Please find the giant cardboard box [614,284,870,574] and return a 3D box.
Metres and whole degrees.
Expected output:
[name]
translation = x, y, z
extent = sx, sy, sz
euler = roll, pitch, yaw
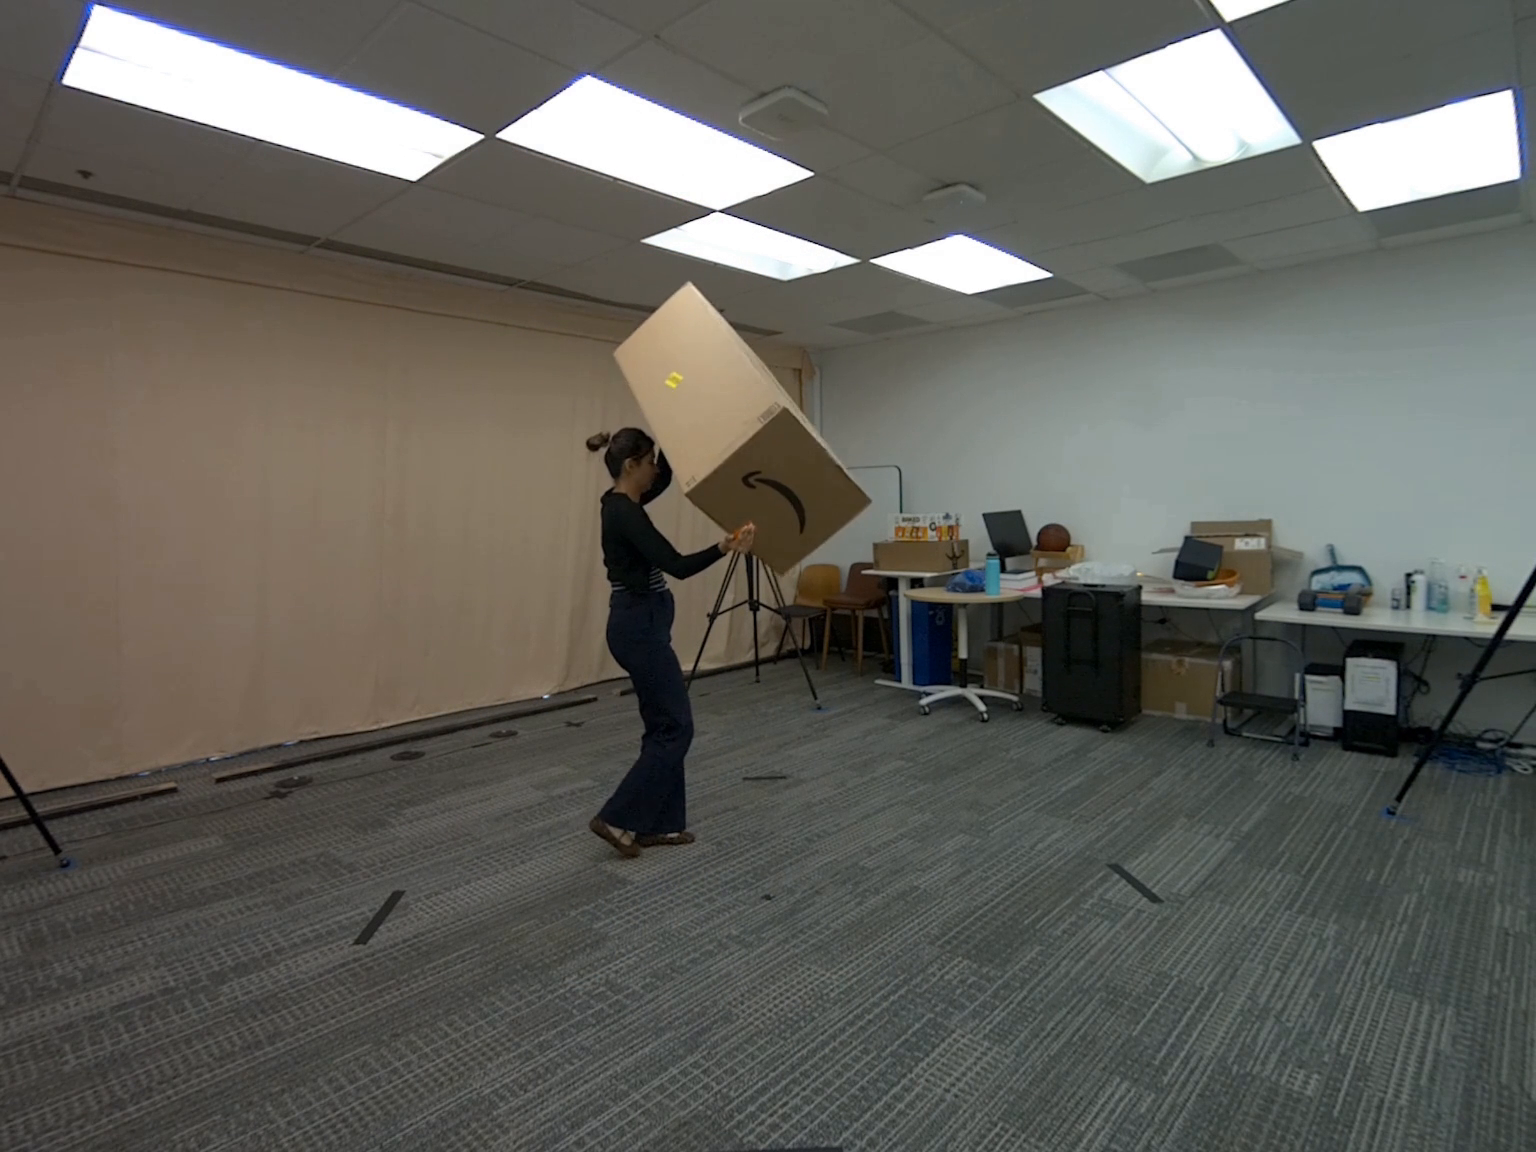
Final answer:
[giant cardboard box]
translation = -0.126, -0.572, 3.172
extent = 0.556, 0.428, 1.059
euler = 39, 15, -43
